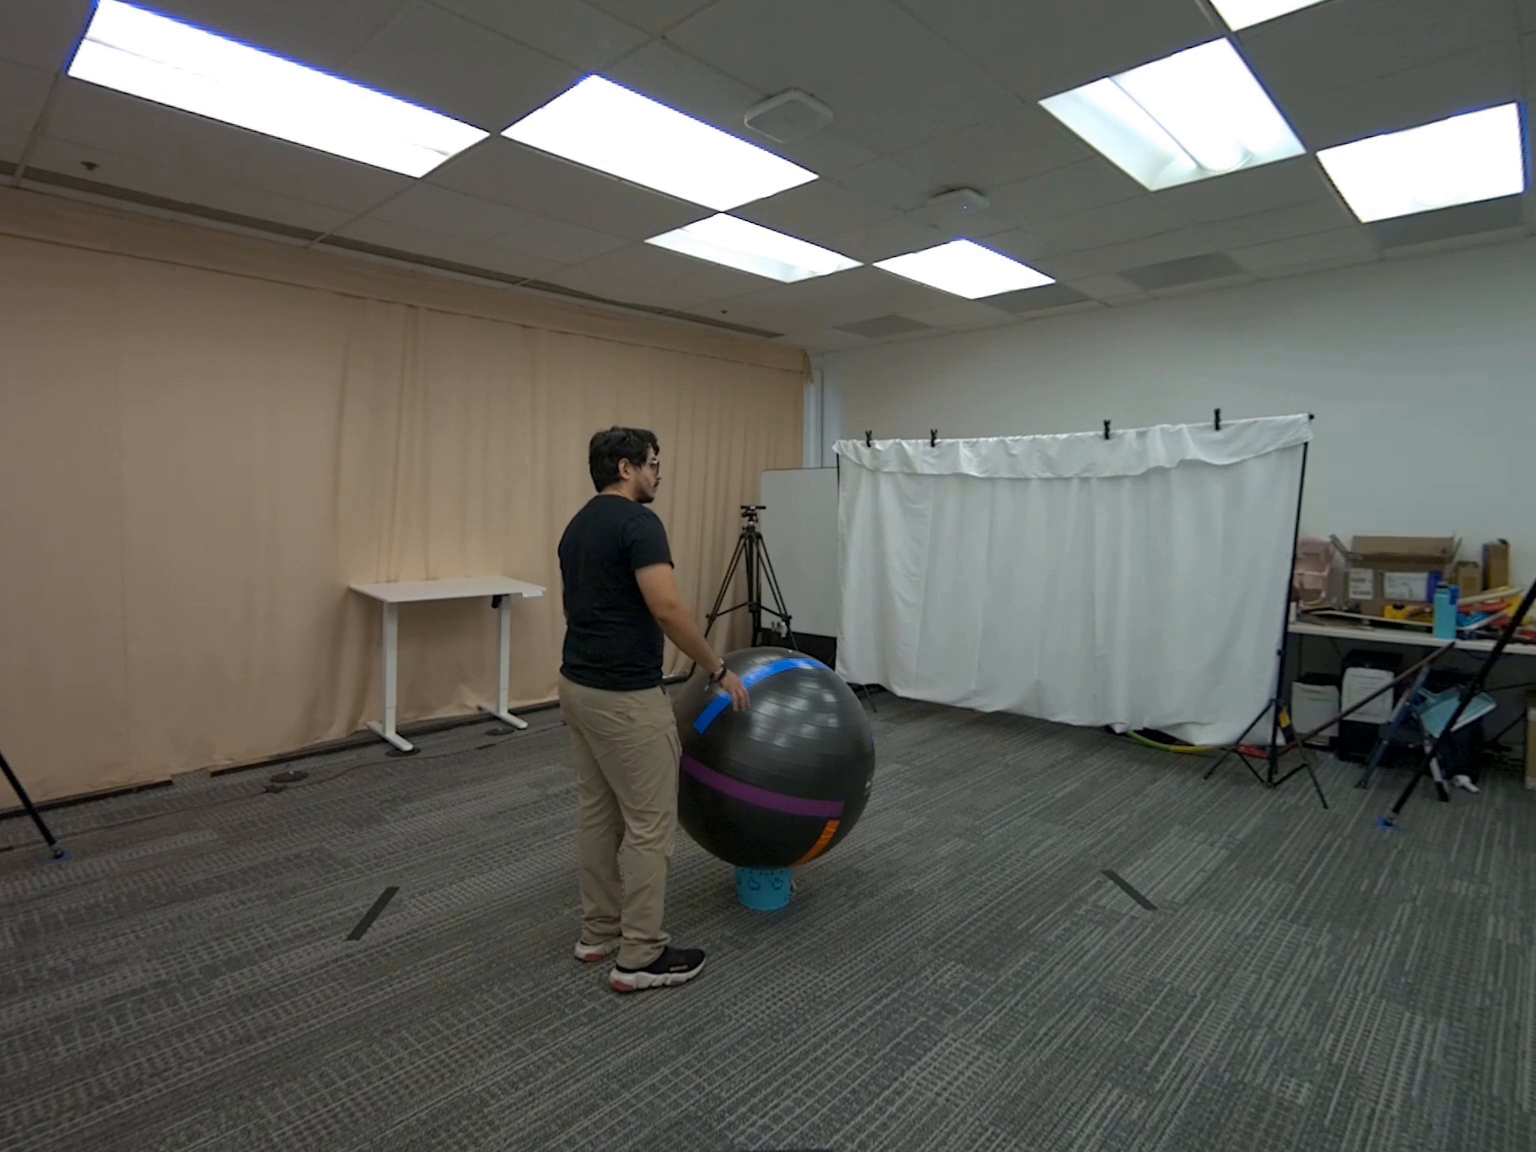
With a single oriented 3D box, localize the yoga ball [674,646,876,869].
[{"bbox_3d":[0.006,0.639,2.973,0.757,0.756,0.760,0,4,-2],"label":"yoga ball"}]
